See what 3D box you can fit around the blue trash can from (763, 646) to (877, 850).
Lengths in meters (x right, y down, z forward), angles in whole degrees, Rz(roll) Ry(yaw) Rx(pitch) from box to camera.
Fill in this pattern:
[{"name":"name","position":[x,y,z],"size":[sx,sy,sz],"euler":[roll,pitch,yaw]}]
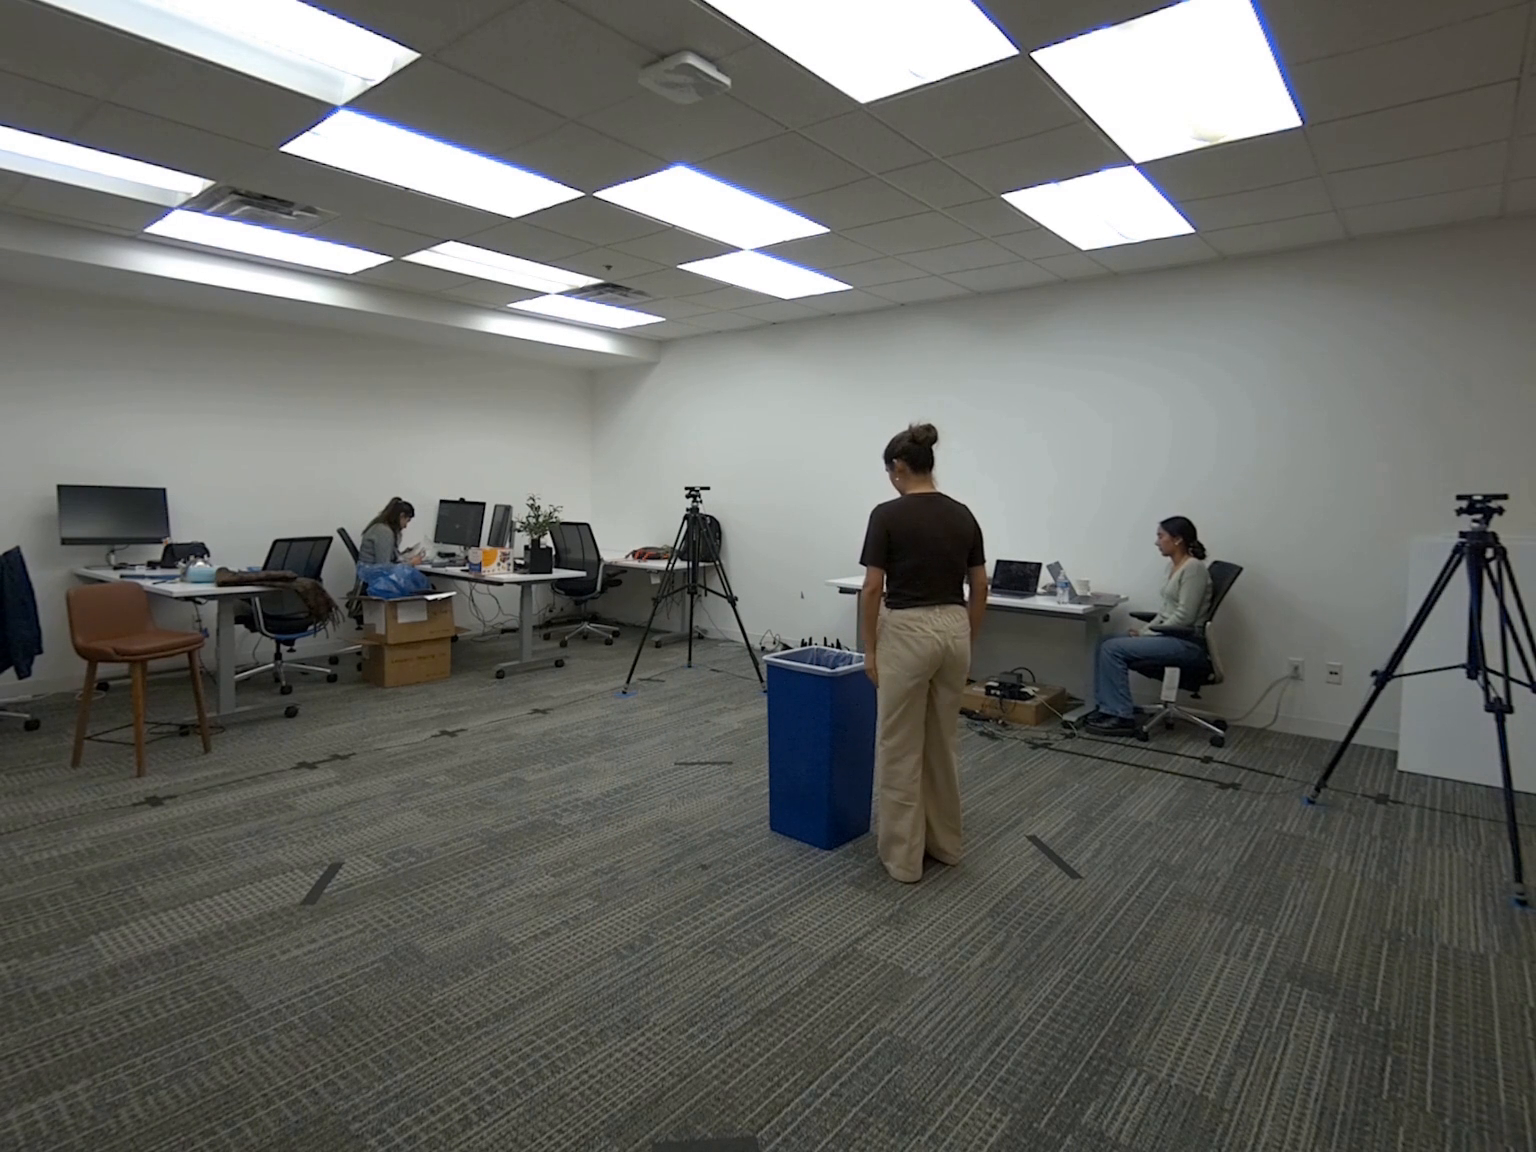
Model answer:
[{"name":"blue trash can","position":[0.201,0.680,3.465],"size":[0.387,0.711,0.367],"euler":[4,5,41]}]
